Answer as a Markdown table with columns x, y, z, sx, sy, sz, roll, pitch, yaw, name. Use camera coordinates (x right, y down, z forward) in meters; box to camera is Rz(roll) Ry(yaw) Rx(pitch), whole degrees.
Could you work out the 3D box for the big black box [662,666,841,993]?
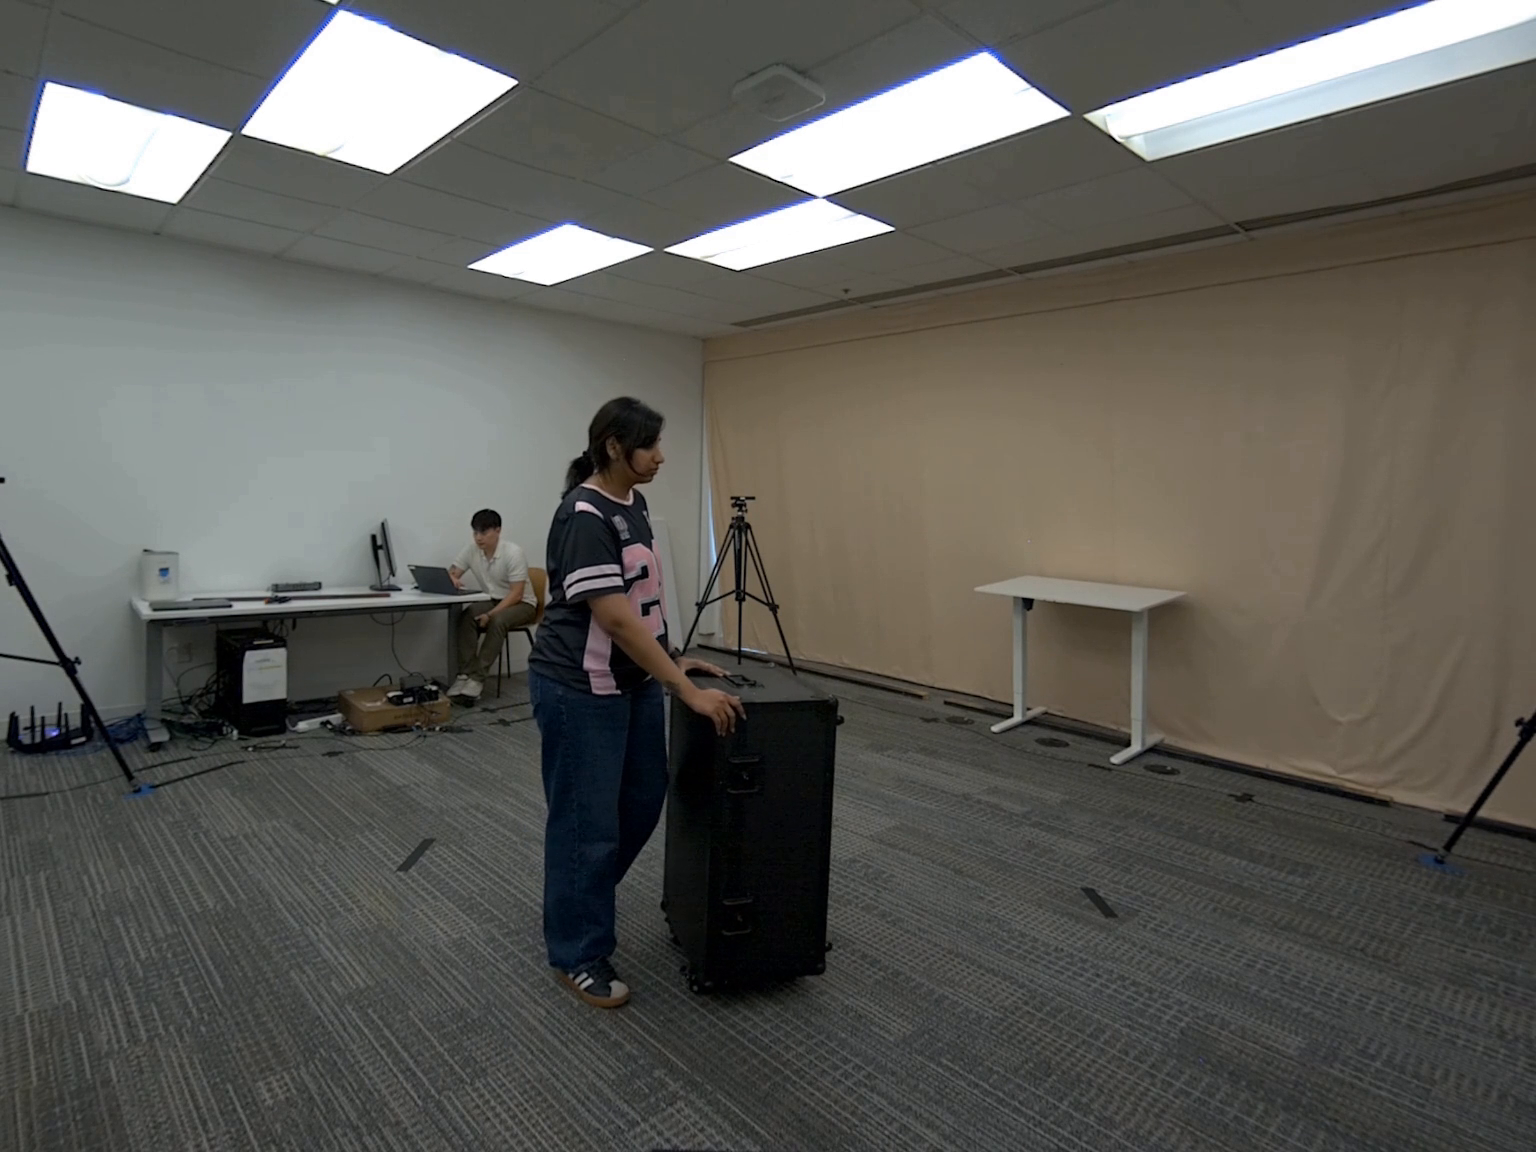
| x | y | z | sx | sy | sz | roll | pitch | yaw | name |
| --- | --- | --- | --- | --- | --- | --- | --- | --- | --- |
| -0.075 | 0.738 | 2.509 | 0.379 | 0.866 | 0.532 | 1 | 4 | -20 | big black box |
